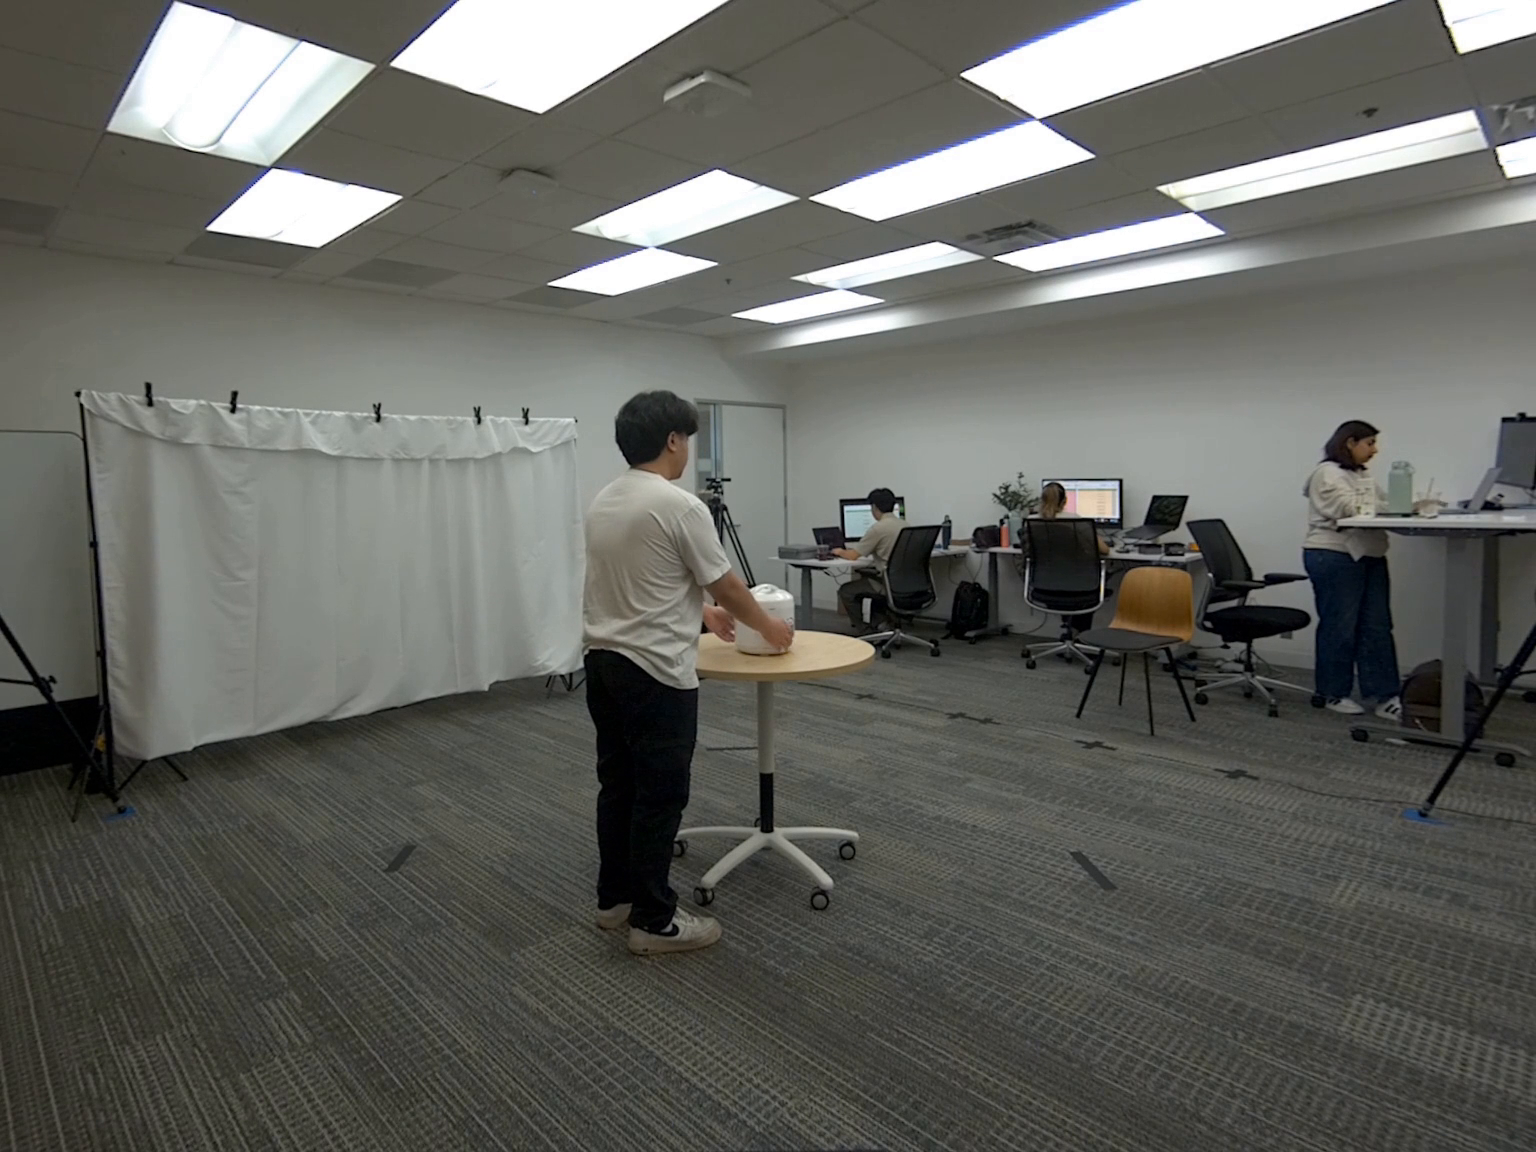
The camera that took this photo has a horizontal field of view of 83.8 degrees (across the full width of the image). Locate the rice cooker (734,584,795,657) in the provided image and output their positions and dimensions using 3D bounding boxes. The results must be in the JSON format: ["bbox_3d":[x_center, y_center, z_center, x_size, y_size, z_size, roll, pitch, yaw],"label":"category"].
[{"bbox_3d":[0.002,0.145,2.968,0.223,0.232,0.215,2,6,33],"label":"rice cooker"}]
